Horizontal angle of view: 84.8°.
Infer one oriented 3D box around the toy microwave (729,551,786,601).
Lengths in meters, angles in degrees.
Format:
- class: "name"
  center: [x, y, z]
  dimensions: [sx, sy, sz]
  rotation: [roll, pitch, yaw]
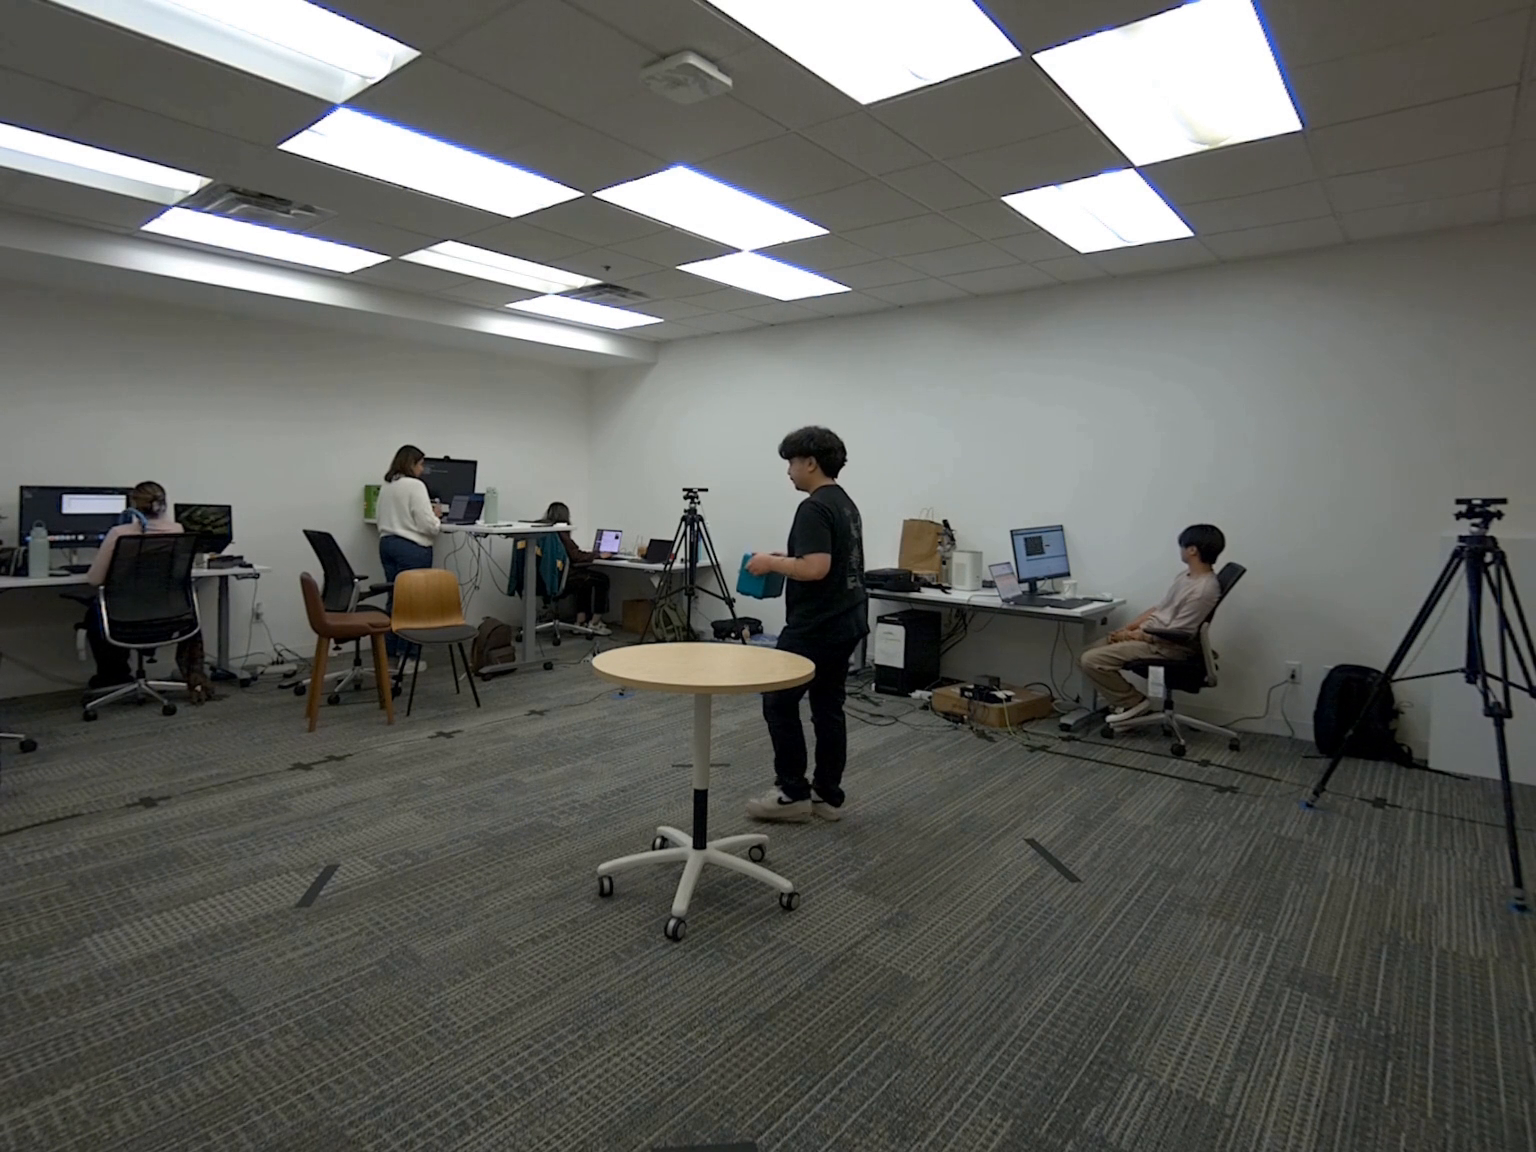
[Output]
- class: "toy microwave"
  center: [-0.035, -0.006, 3.740]
  dimensions: [0.156, 0.183, 0.280]
  rotation: [12, 5, 19]
